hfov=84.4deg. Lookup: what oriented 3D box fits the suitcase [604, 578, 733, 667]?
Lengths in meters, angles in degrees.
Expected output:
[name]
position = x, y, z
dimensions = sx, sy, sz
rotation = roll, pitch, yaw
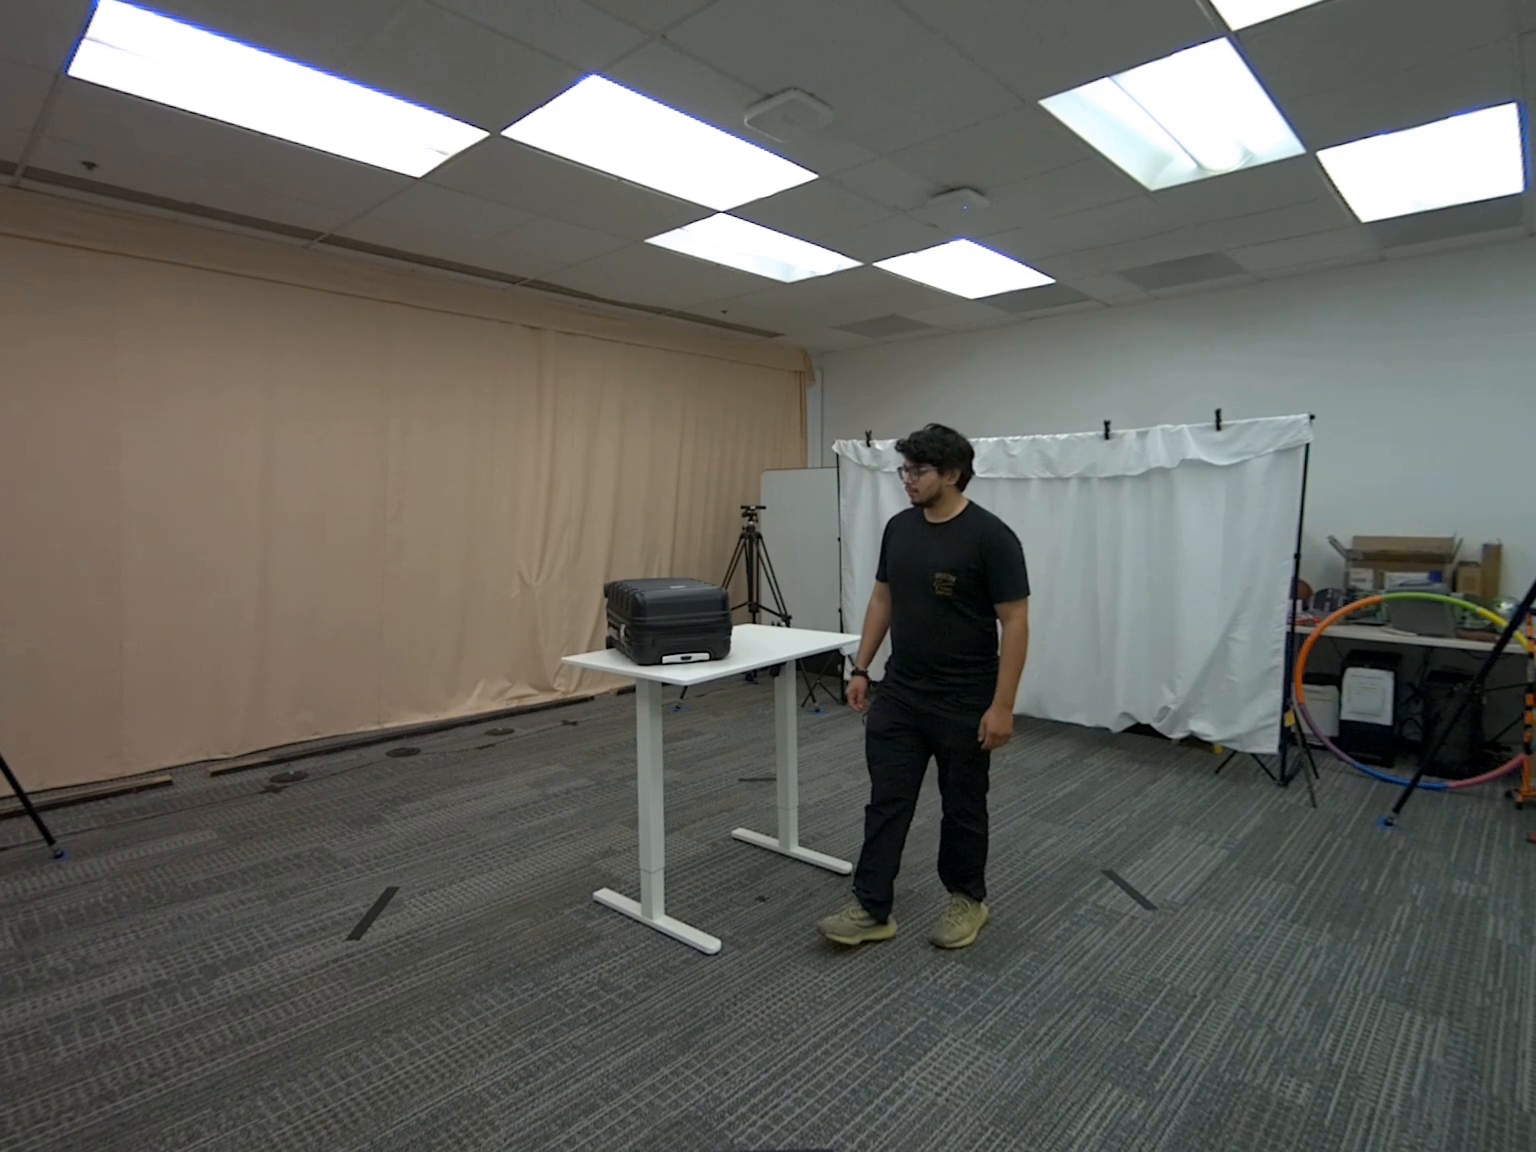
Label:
[suitcase]
position = -0.353, 0.151, 2.954
dimensions = 0.368, 0.248, 0.562
rotation = -2, 5, -21
